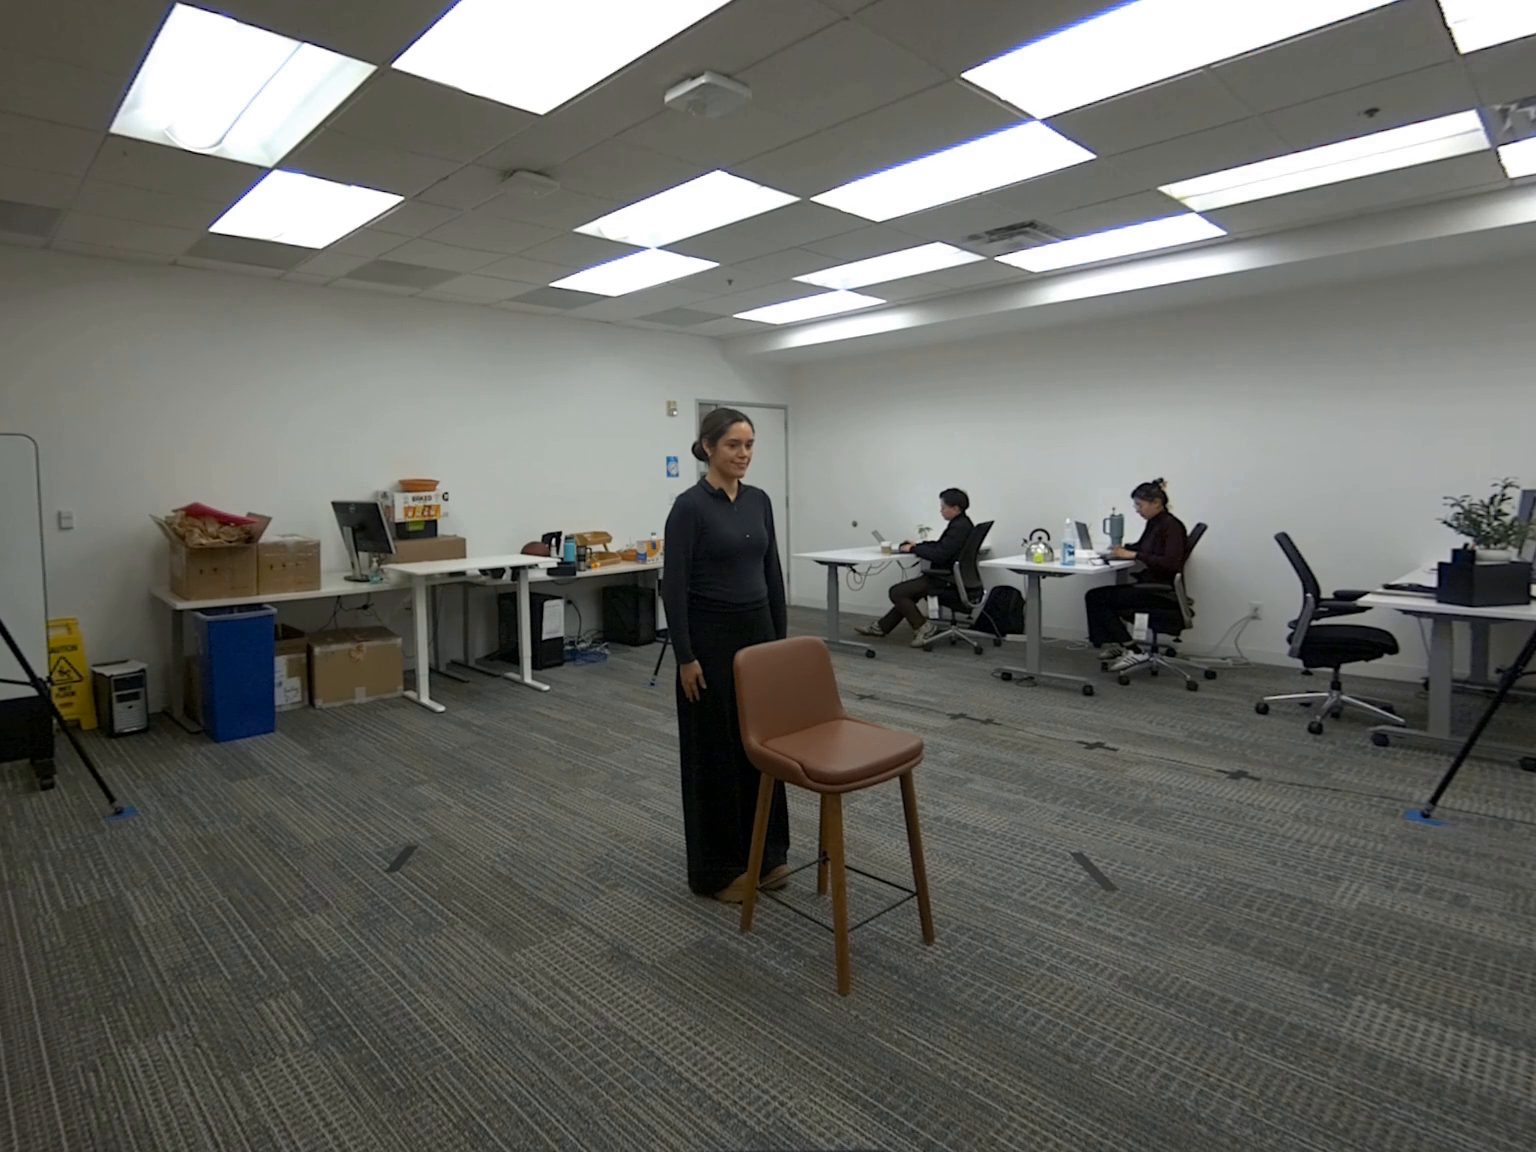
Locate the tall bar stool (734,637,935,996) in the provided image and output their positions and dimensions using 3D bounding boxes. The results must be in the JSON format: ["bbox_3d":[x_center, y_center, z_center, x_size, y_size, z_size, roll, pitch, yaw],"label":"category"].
[{"bbox_3d":[0.190,0.660,2.582,0.444,0.888,0.481,-4,3,-41],"label":"tall bar stool"}]
